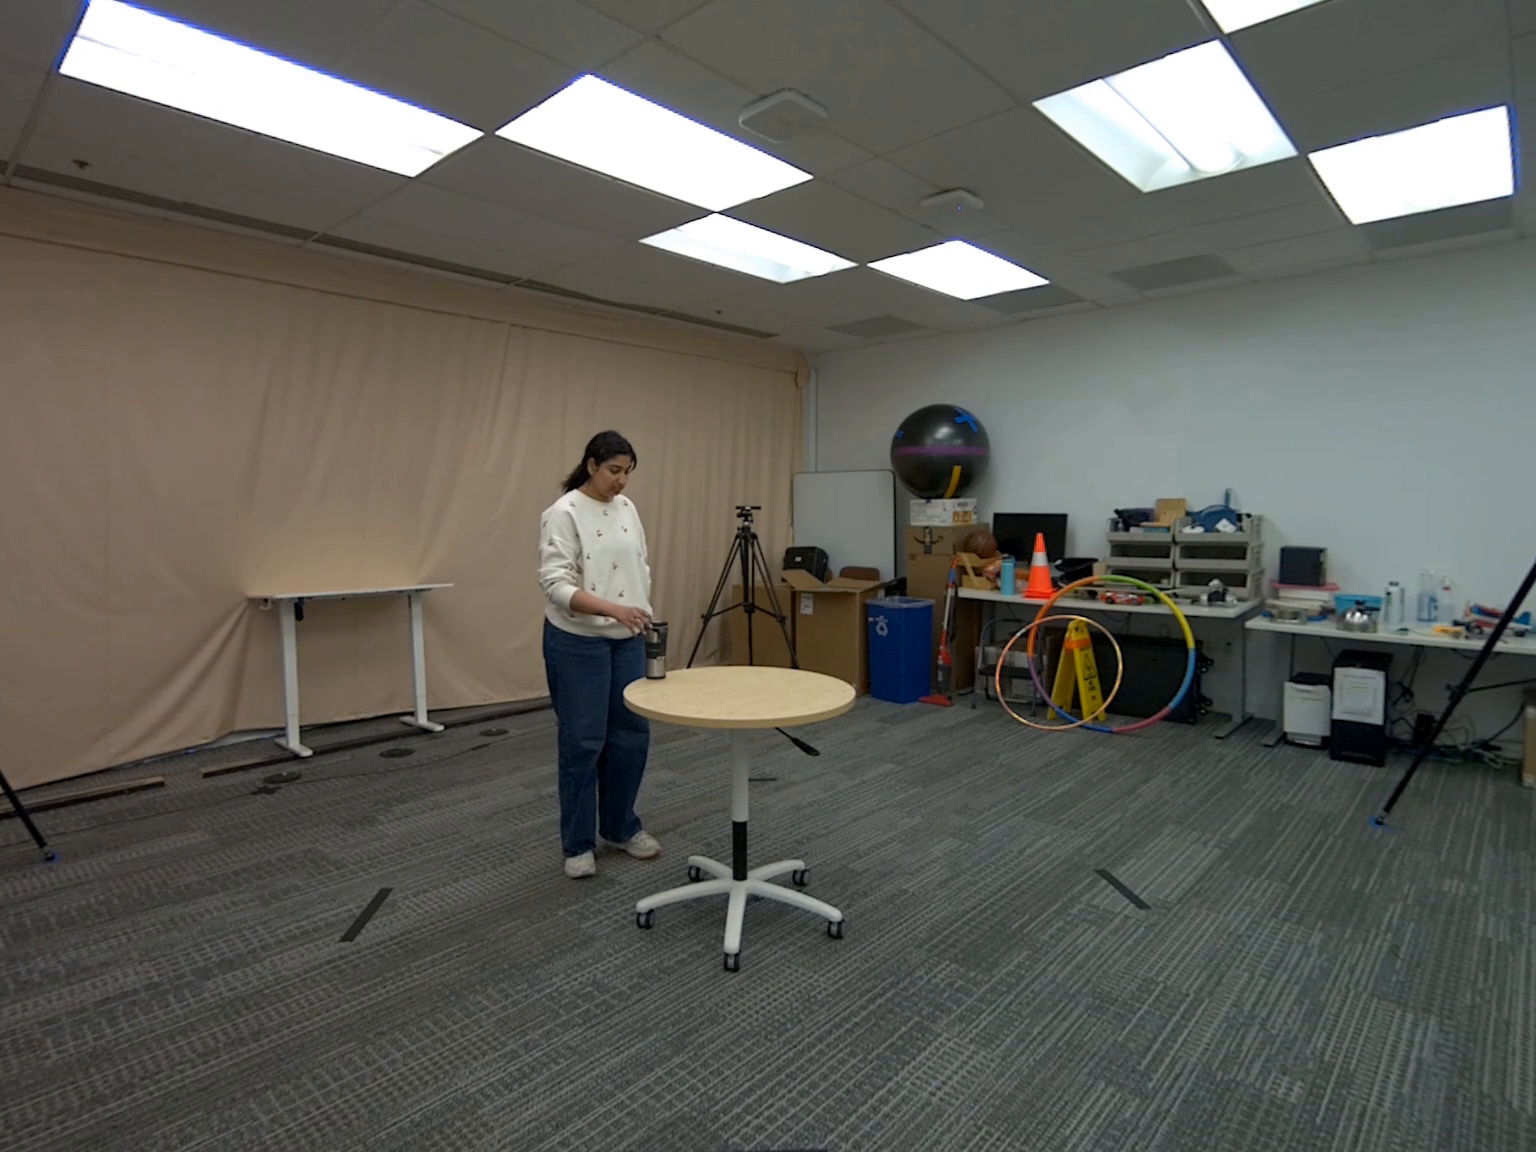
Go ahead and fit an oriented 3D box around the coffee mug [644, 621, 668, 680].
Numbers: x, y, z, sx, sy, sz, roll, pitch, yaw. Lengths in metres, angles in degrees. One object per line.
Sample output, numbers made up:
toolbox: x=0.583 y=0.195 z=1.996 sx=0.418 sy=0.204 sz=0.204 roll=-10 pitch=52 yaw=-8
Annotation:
coffee mug: x=-0.399 y=0.264 z=2.949 sx=0.088 sy=0.202 sz=0.122 roll=2 pitch=3 yaw=-3
